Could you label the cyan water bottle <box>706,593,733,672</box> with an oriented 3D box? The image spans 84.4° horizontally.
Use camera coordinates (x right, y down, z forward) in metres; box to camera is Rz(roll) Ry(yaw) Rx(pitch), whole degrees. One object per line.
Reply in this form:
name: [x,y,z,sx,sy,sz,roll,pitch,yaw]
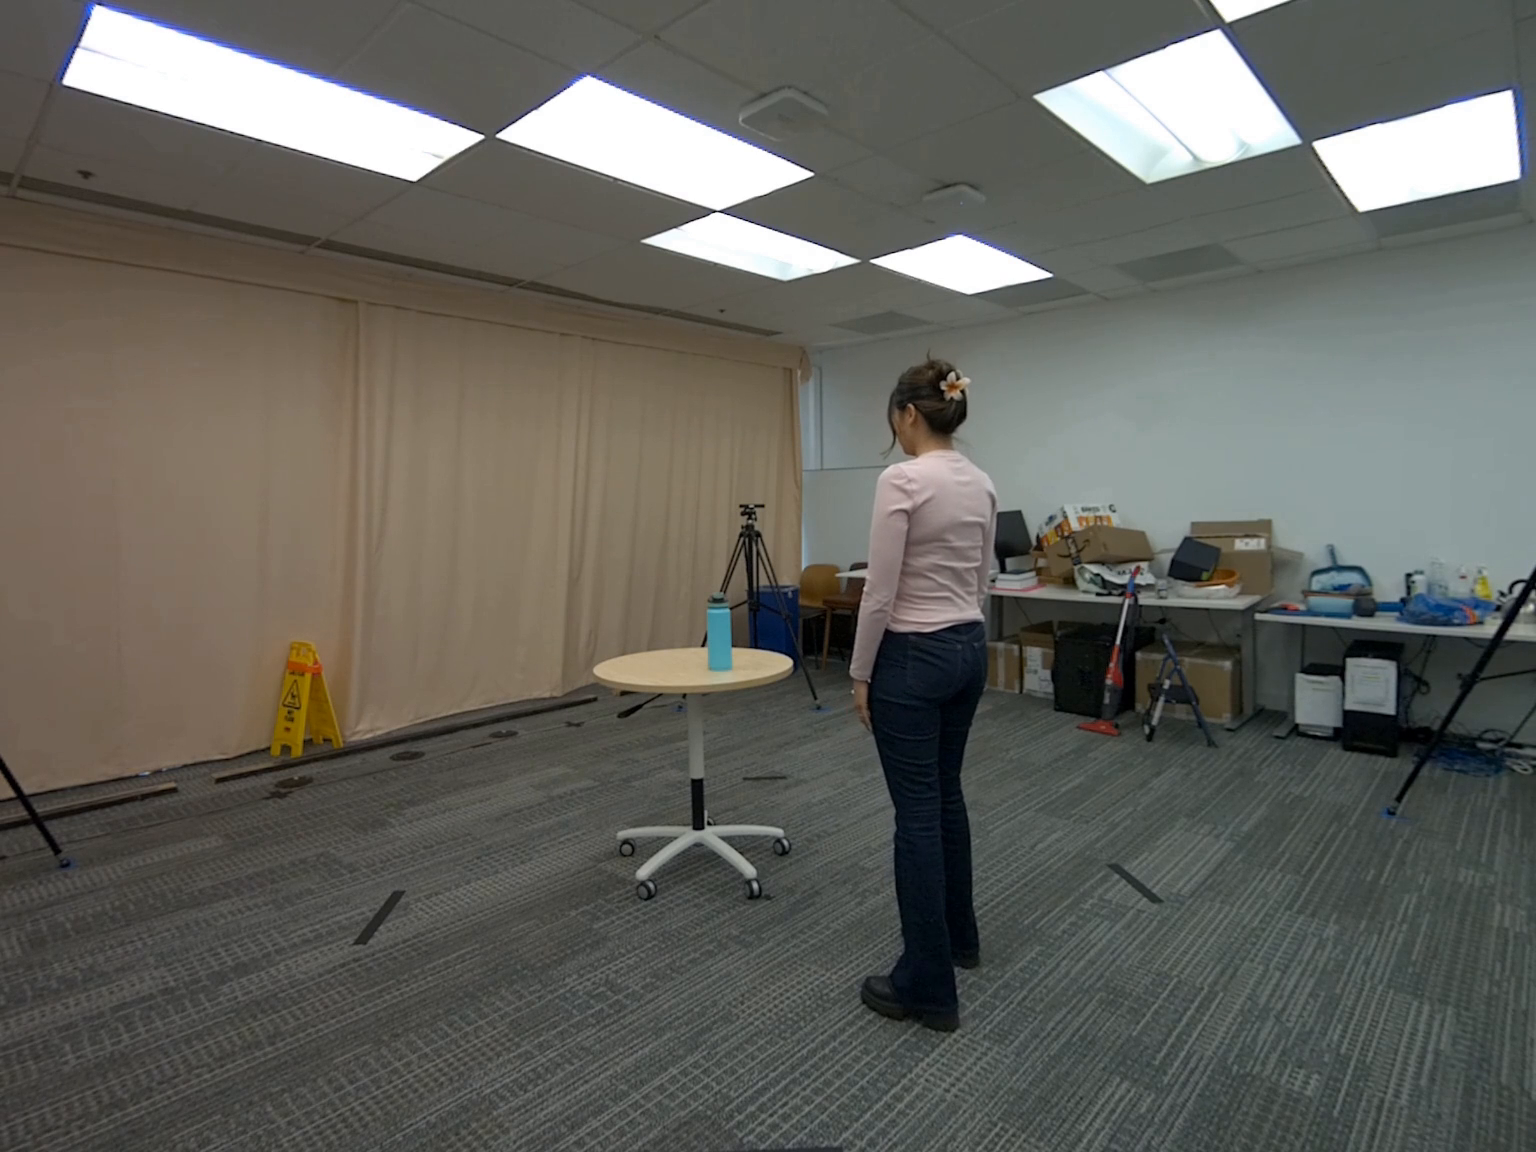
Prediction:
cyan water bottle: [-0.183,0.206,3.131,0.092,0.283,0.092,-3,2,-2]
